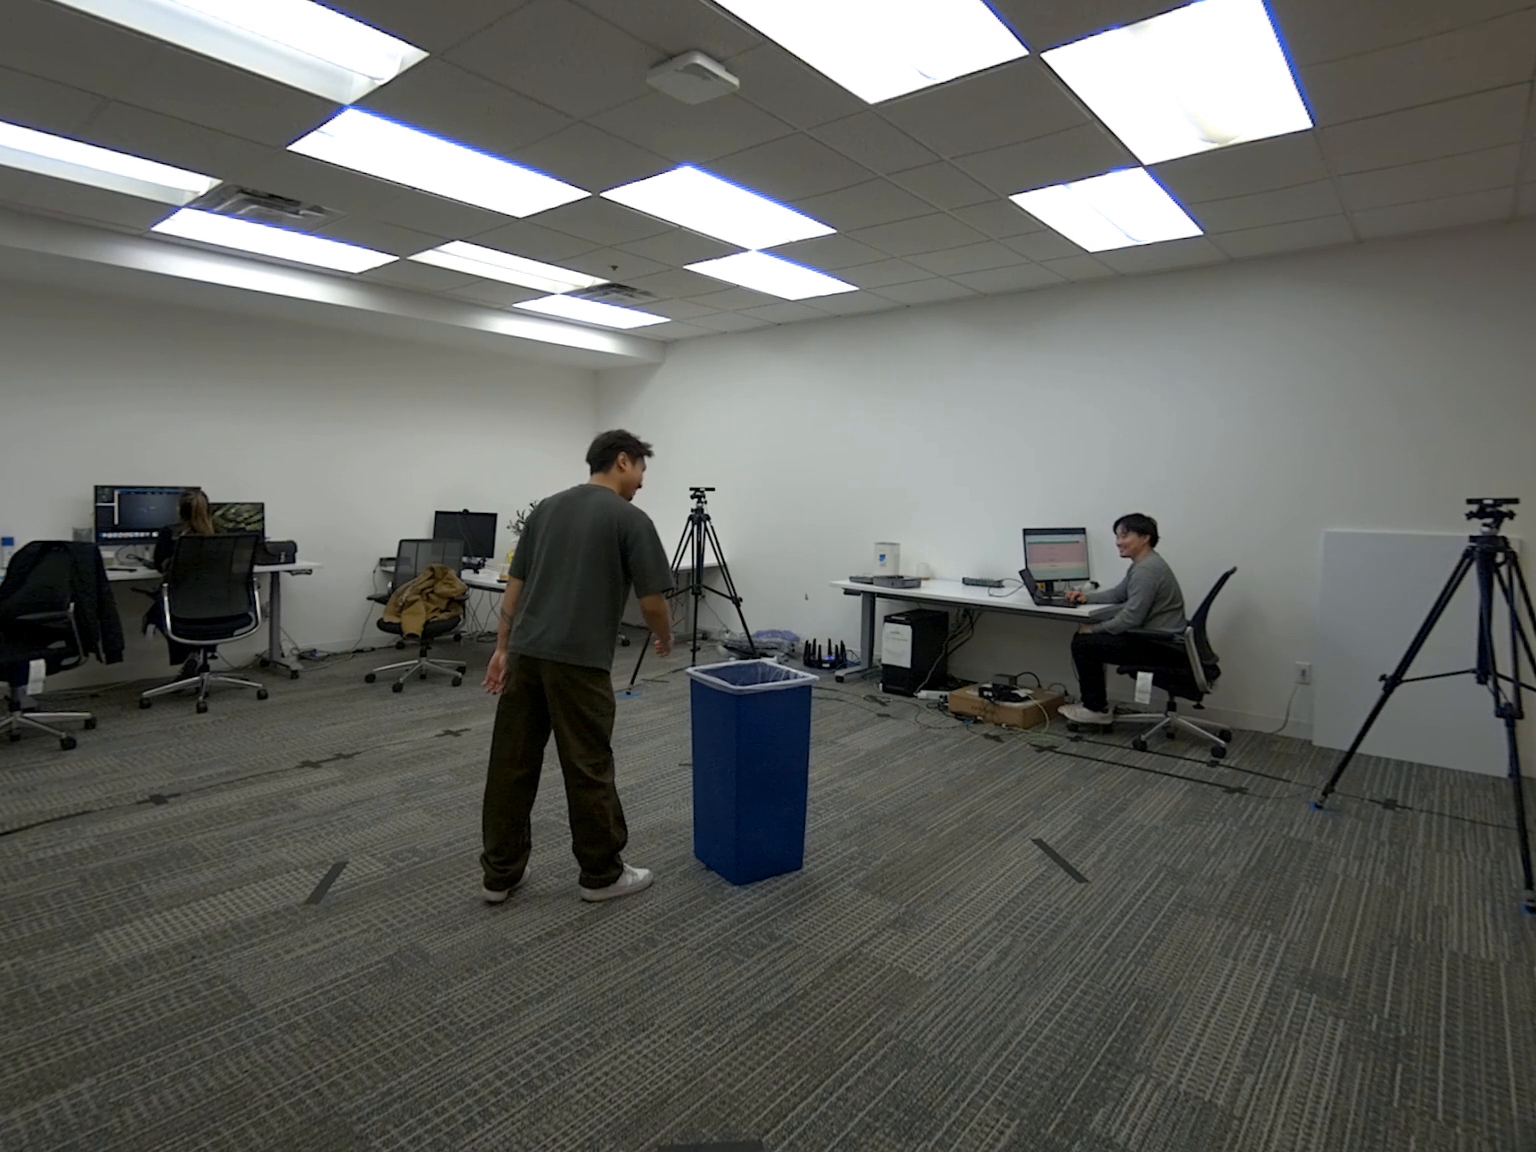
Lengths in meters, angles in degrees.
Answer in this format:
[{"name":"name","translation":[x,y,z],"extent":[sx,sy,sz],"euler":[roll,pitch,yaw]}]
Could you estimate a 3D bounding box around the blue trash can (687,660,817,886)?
[{"name":"blue trash can","translation":[-0.083,0.705,3.147],"extent":[0.363,0.712,0.390],"euler":[-1,3,-35]}]
